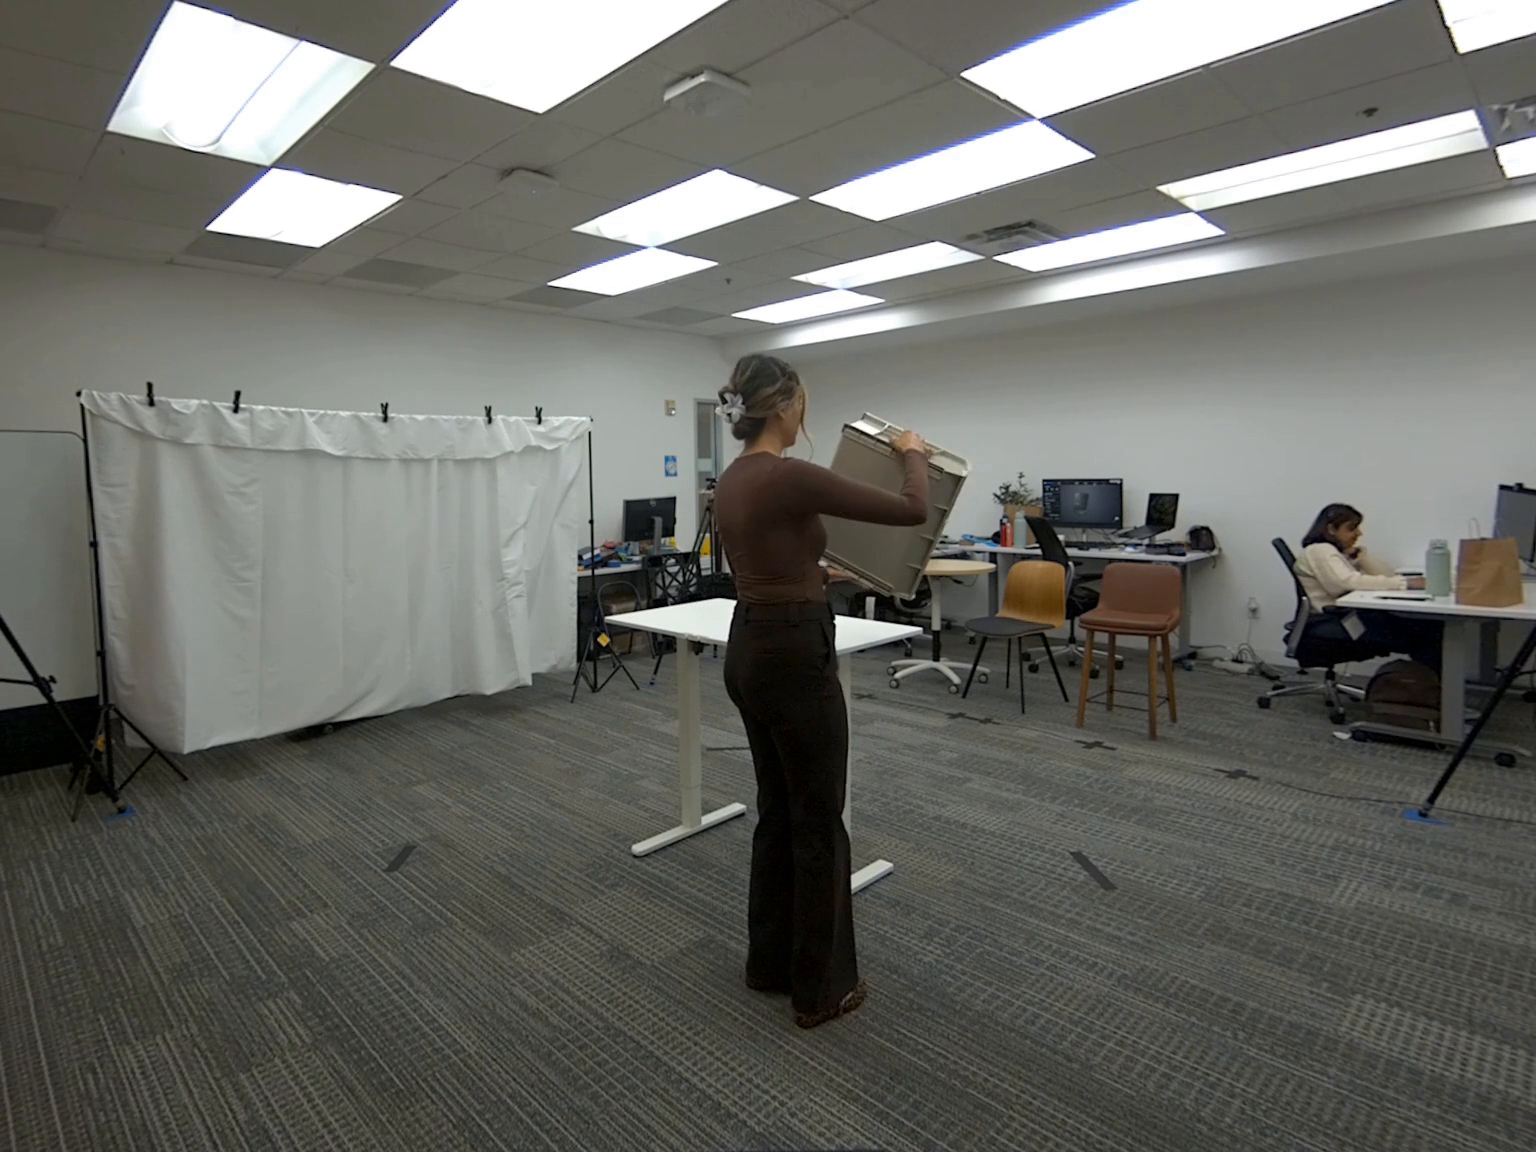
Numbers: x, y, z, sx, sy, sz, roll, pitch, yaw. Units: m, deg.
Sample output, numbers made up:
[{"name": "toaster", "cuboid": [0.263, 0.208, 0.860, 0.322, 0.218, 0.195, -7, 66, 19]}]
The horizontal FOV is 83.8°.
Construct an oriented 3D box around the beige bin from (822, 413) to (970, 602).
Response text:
[{"name": "beige bin", "cuboid": [0.344, -0.197, 2.495, 0.387, 0.417, 0.186, 29, 27, 21]}]
